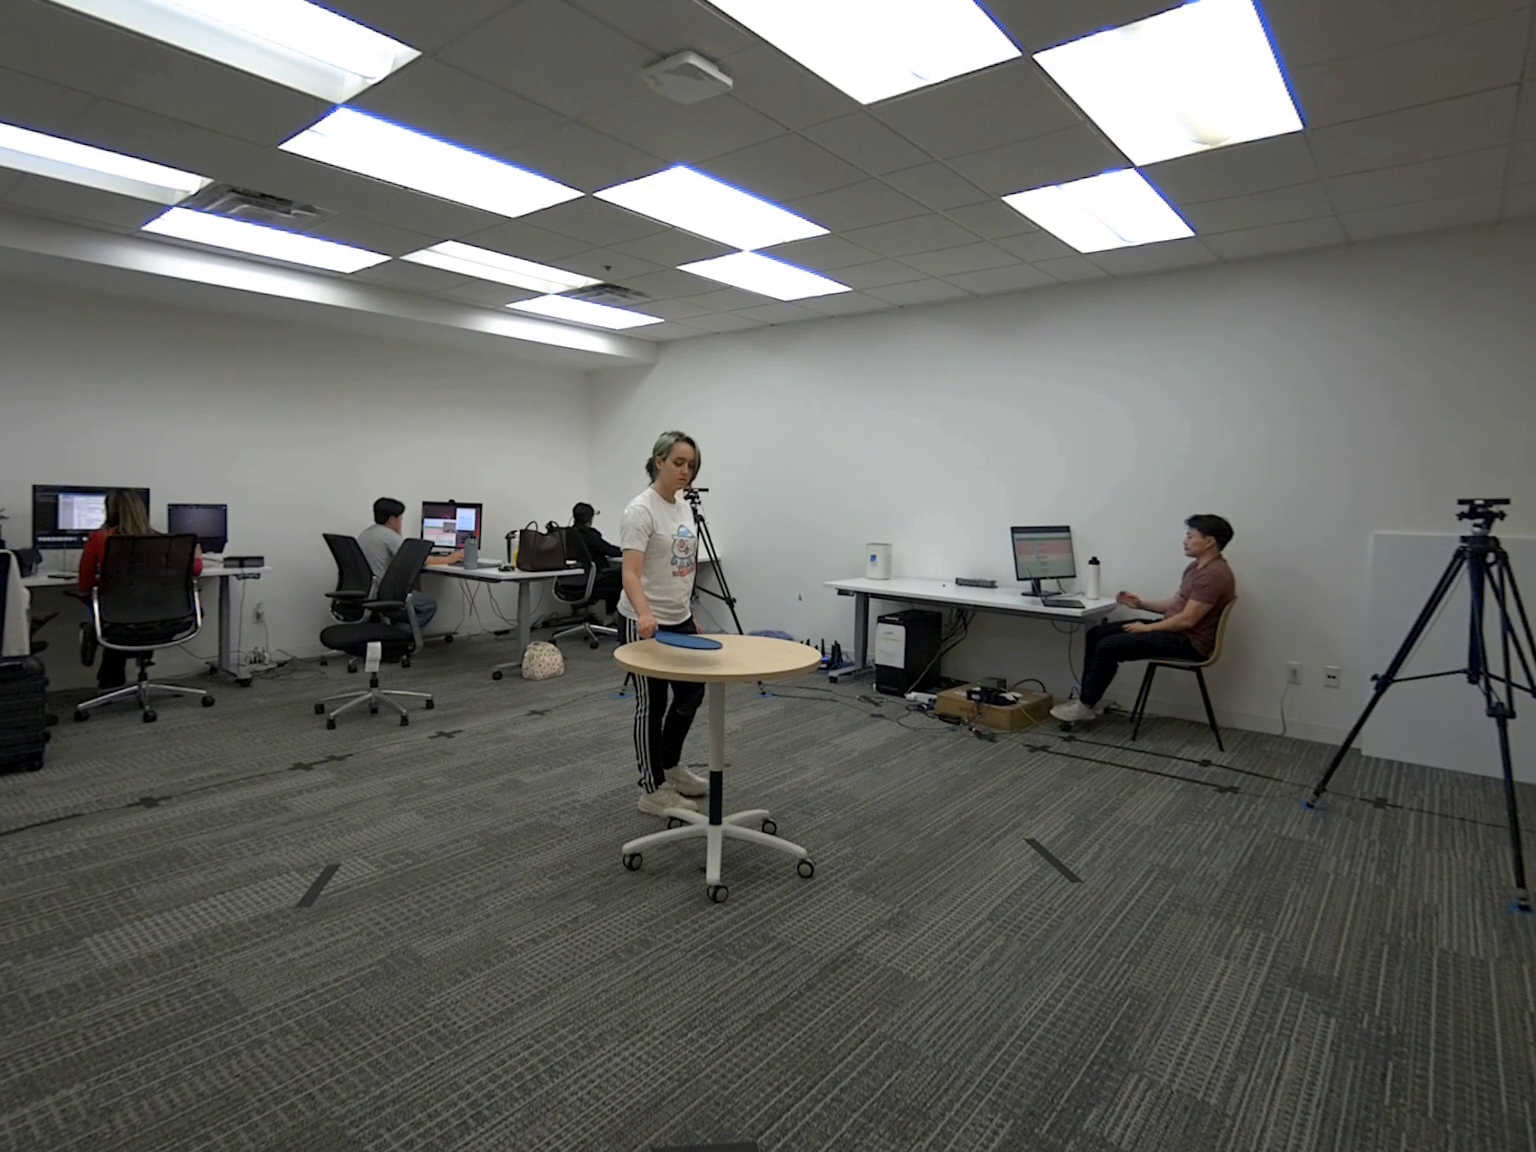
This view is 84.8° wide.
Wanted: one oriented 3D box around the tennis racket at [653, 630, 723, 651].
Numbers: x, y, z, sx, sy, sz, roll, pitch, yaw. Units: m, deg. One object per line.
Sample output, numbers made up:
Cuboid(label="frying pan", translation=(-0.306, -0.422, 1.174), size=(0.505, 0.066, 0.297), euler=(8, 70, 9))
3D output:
Cuboid(label="tennis racket", translation=(-0.322, 0.225, 3.043), size=(0.207, 0.031, 0.447), euler=(1, 5, -35))
